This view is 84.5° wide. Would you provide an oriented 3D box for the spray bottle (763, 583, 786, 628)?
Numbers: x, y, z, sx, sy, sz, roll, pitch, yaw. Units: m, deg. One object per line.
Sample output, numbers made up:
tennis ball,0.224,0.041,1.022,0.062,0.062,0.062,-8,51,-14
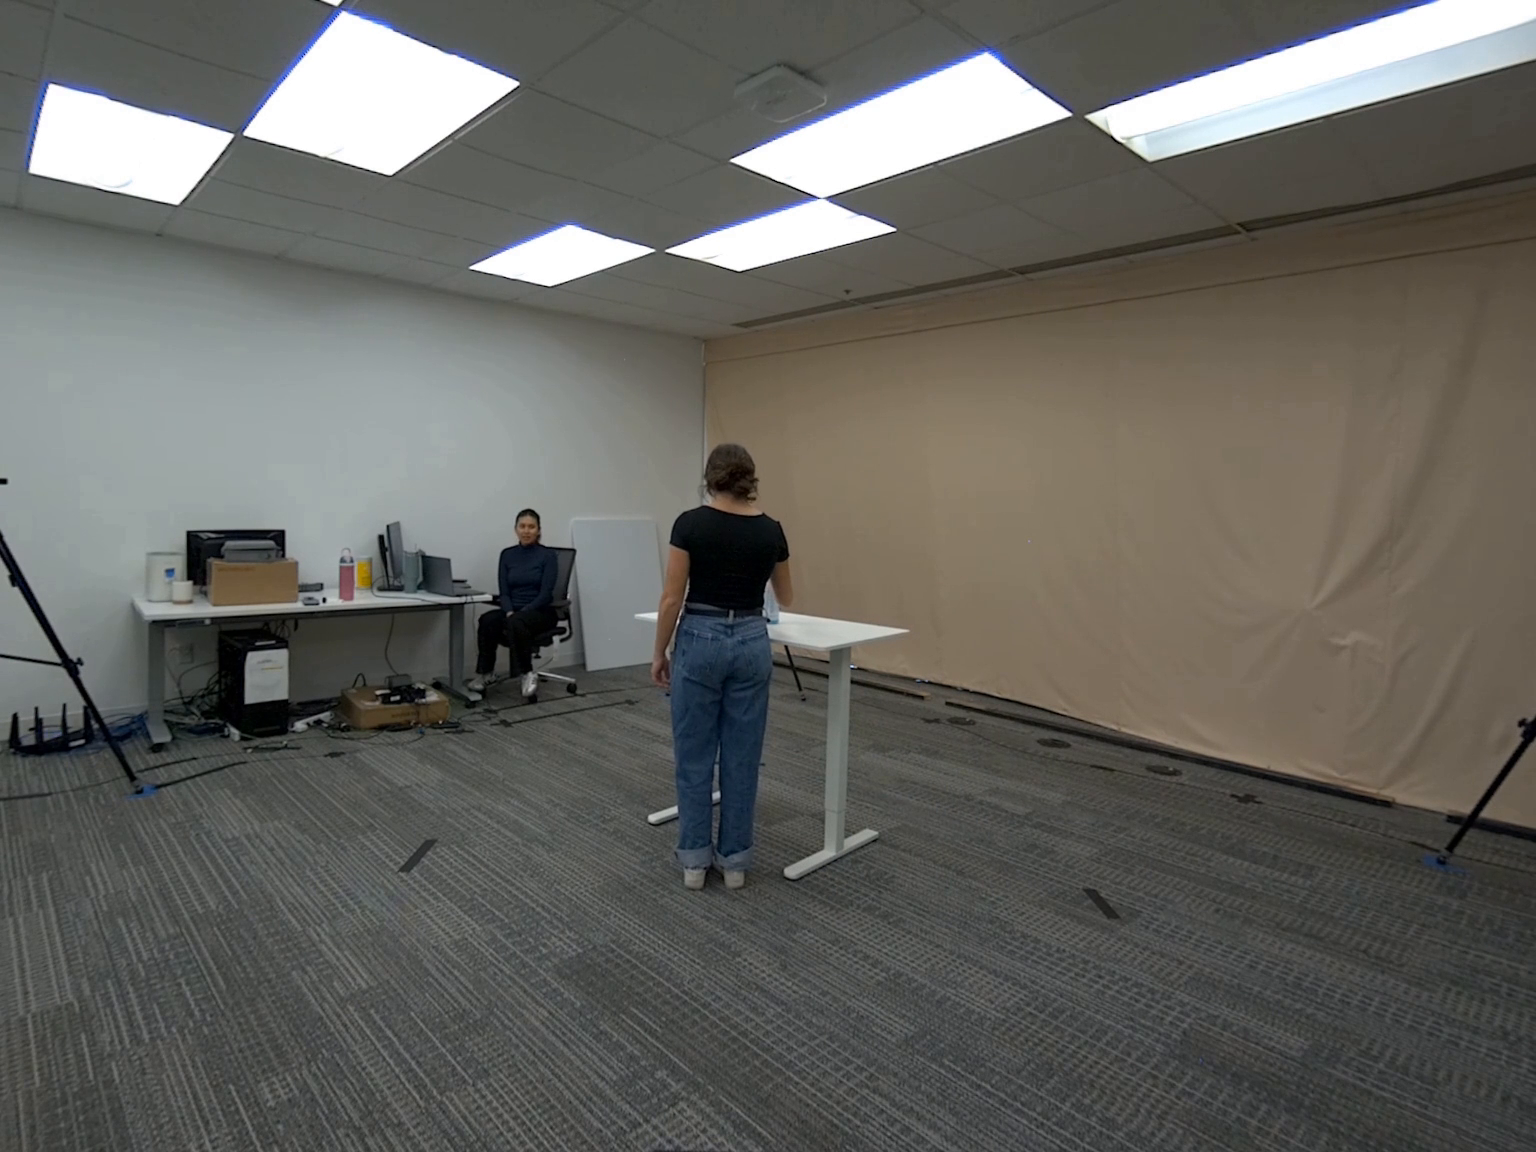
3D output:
spray bottle,0.024,0.052,3.475,0.090,0.296,0.087,2,4,0
